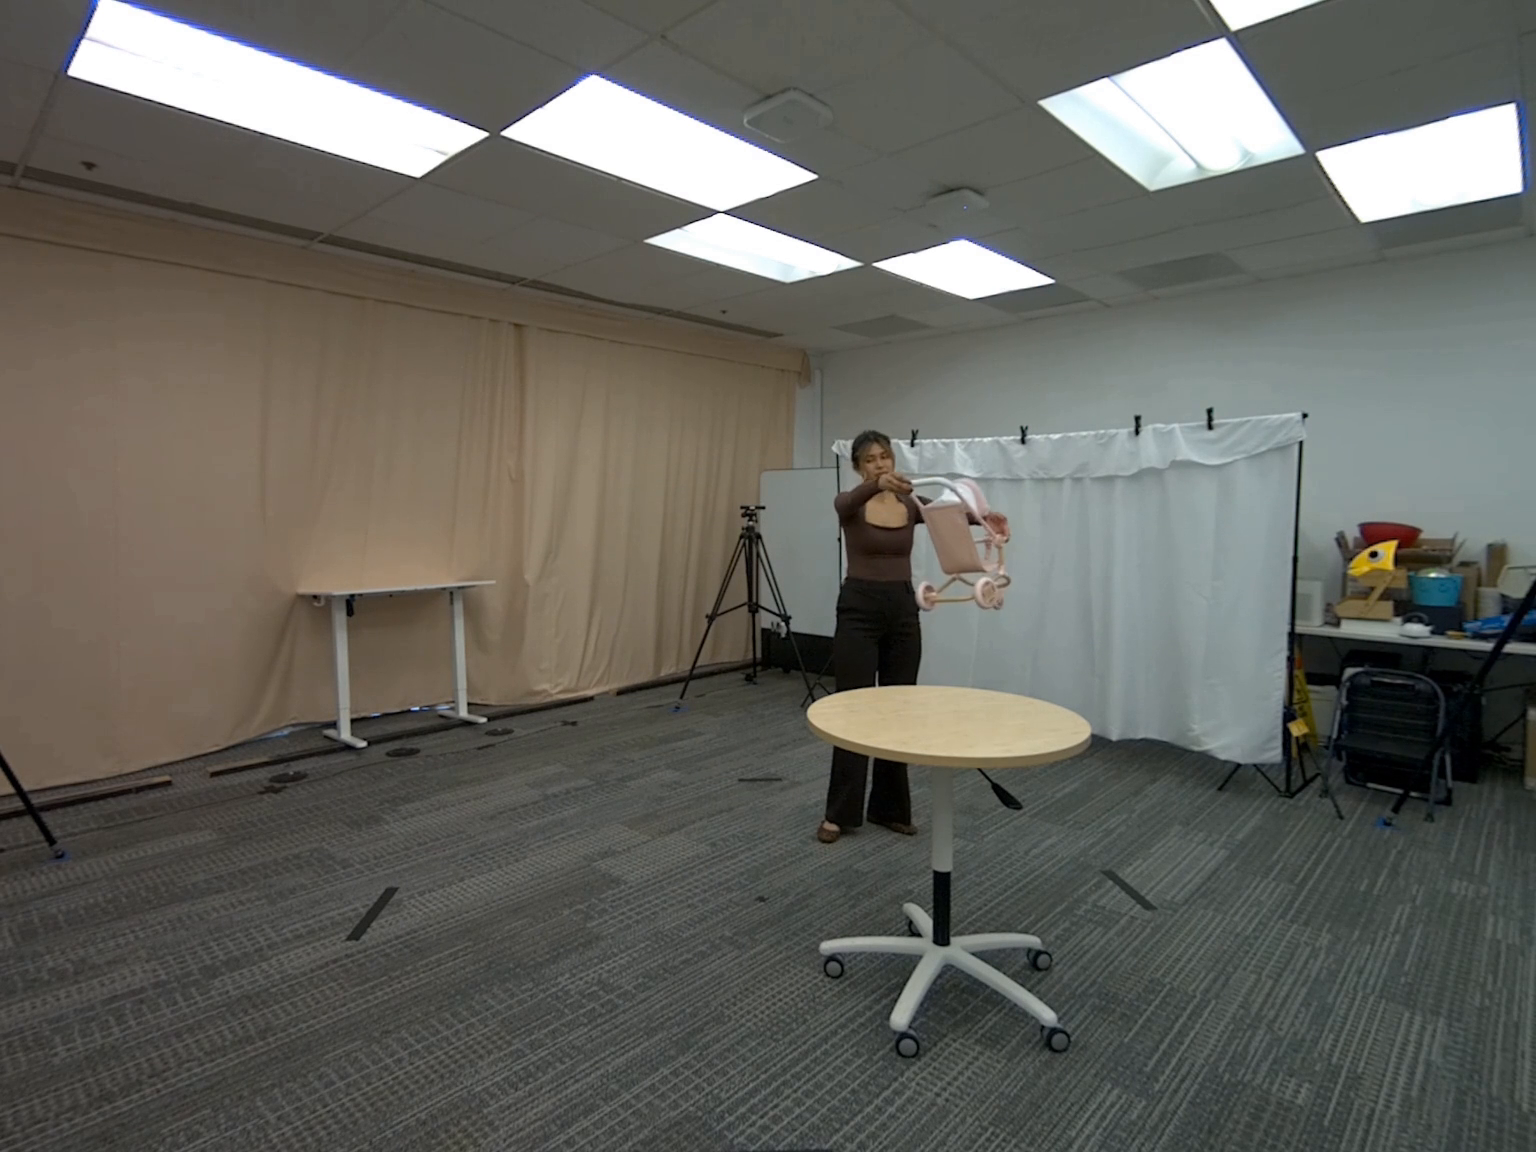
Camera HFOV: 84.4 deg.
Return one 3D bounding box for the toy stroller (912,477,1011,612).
[{"bbox_3d":[0.711,-0.108,3.034,0.333,0.533,0.289,-14,5,-35],"label":"toy stroller"}]
